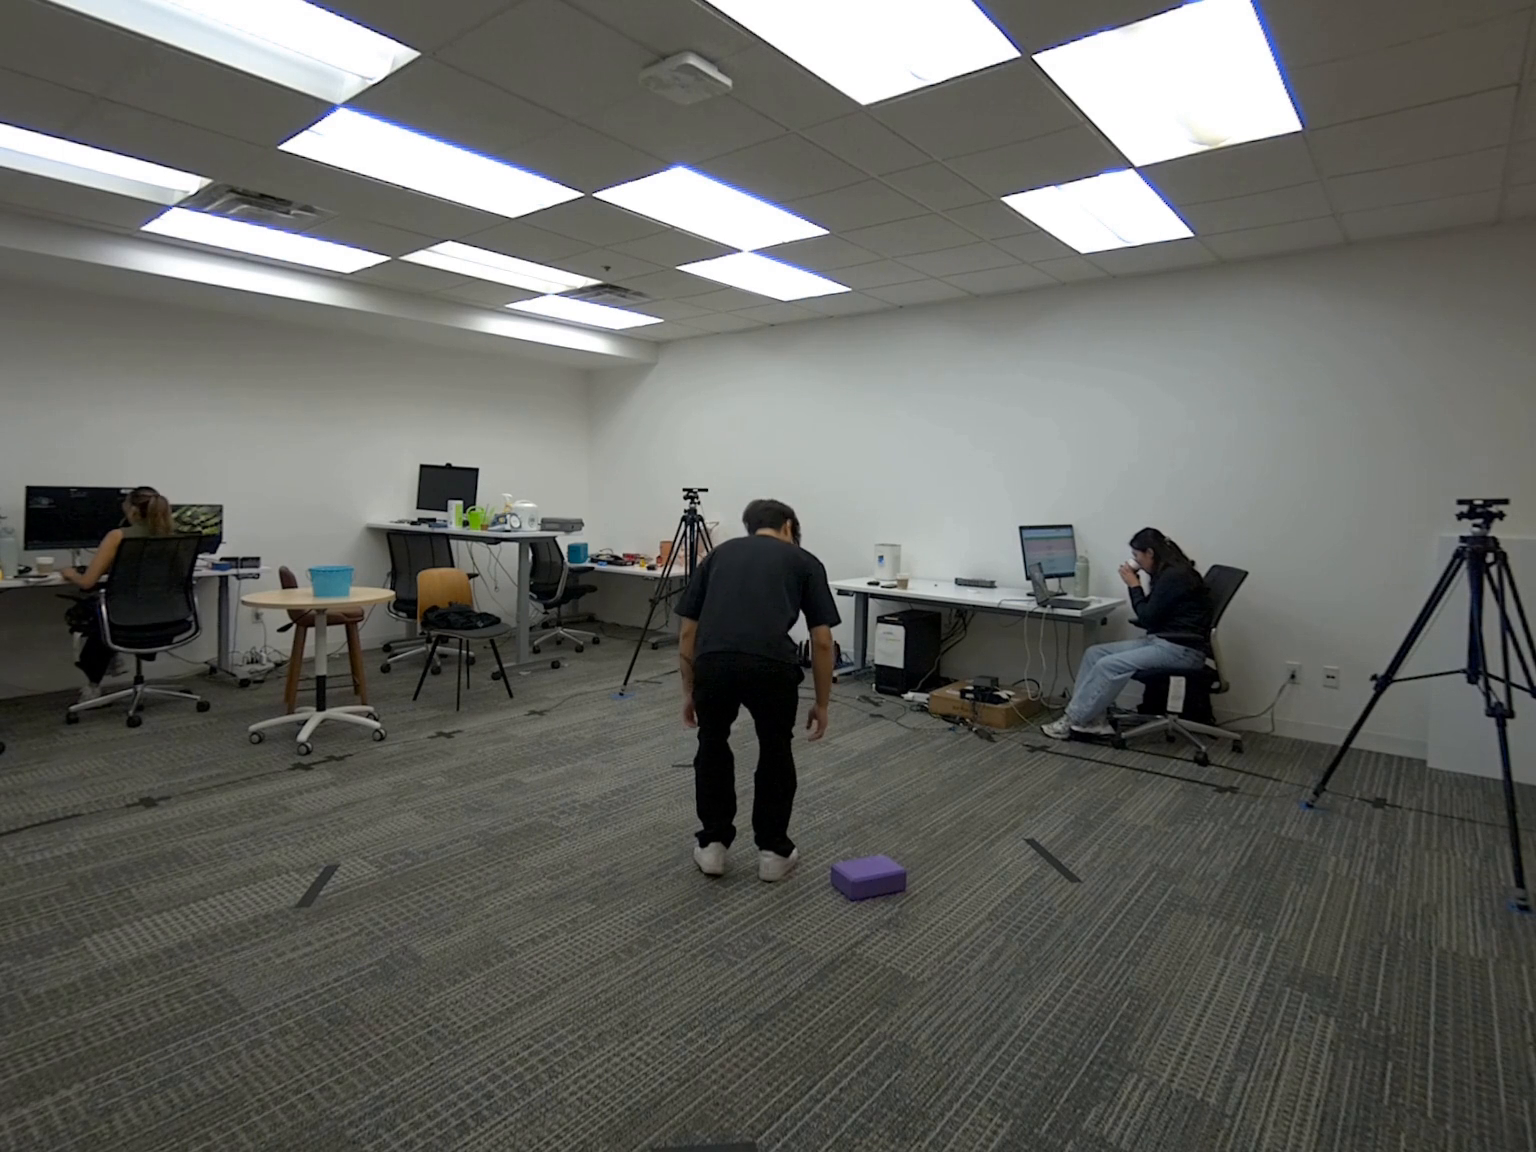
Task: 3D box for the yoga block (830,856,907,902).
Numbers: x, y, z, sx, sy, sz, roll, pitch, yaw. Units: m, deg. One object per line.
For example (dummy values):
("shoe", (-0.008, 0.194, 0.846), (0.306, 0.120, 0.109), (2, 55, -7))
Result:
("yoga block", (0.348, 1.054, 2.995), (0.224, 0.076, 0.153), (-2, 6, -24))
